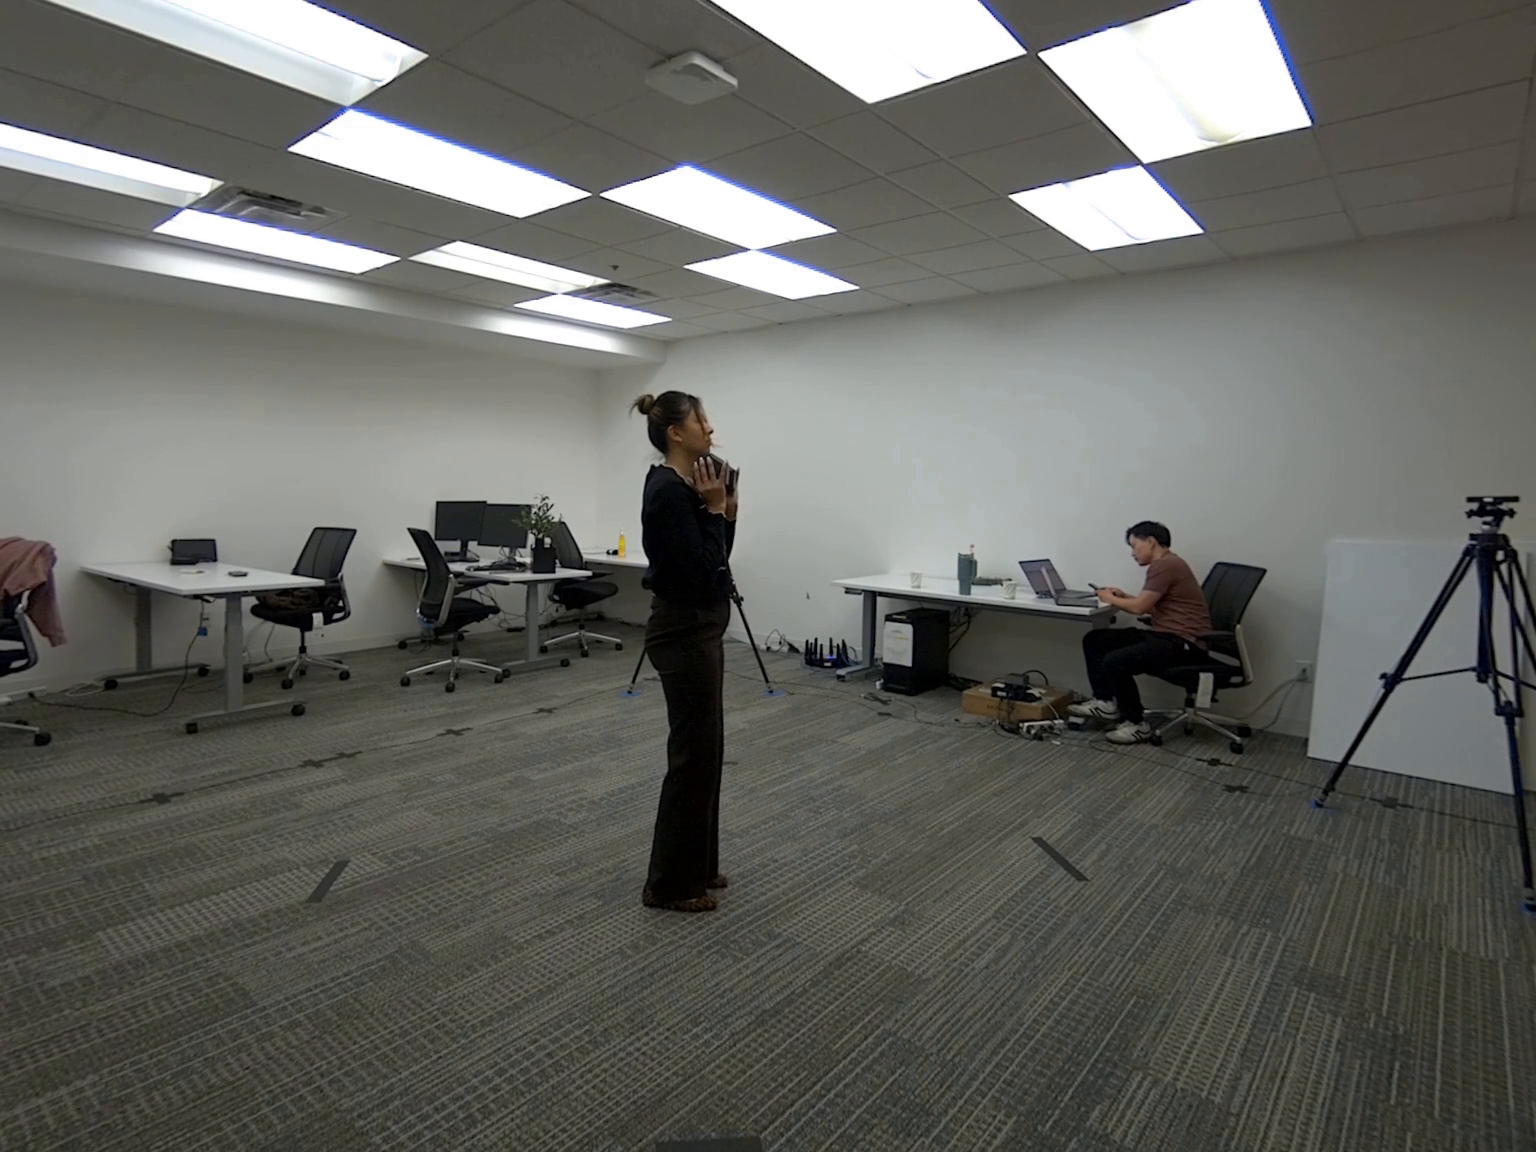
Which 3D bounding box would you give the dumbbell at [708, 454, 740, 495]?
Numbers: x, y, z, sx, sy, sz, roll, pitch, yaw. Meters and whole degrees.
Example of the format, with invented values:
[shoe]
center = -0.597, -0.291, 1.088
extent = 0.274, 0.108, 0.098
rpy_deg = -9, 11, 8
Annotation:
[dumbbell]
center = -0.185, -0.337, 2.805
extent = 0.124, 0.108, 0.292
rpy_deg = 32, 5, 2
